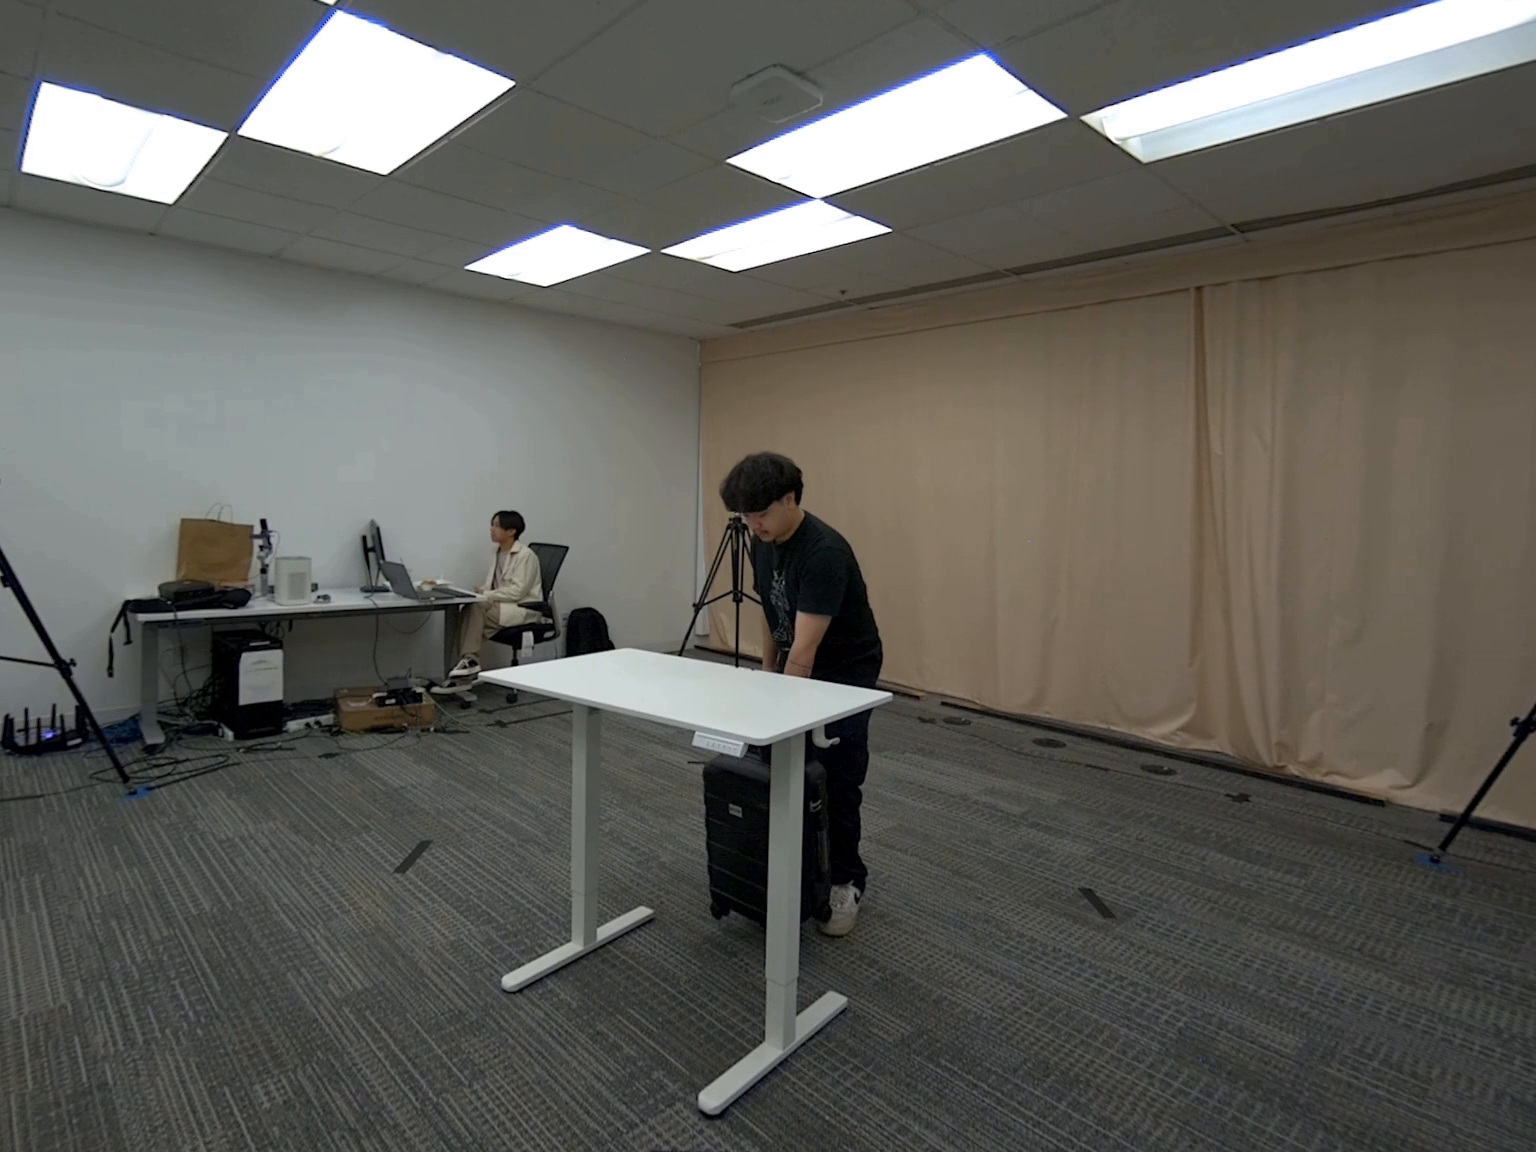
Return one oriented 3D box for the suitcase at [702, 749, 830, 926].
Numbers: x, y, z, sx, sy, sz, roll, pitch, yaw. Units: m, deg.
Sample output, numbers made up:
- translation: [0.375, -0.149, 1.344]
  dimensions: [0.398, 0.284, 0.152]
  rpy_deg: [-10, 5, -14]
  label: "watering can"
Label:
- translation: [-0.012, 0.826, 2.658]
  dimensions: [0.385, 0.546, 0.244]
  rpy_deg: [5, 11, 40]
  label: "suitcase"
